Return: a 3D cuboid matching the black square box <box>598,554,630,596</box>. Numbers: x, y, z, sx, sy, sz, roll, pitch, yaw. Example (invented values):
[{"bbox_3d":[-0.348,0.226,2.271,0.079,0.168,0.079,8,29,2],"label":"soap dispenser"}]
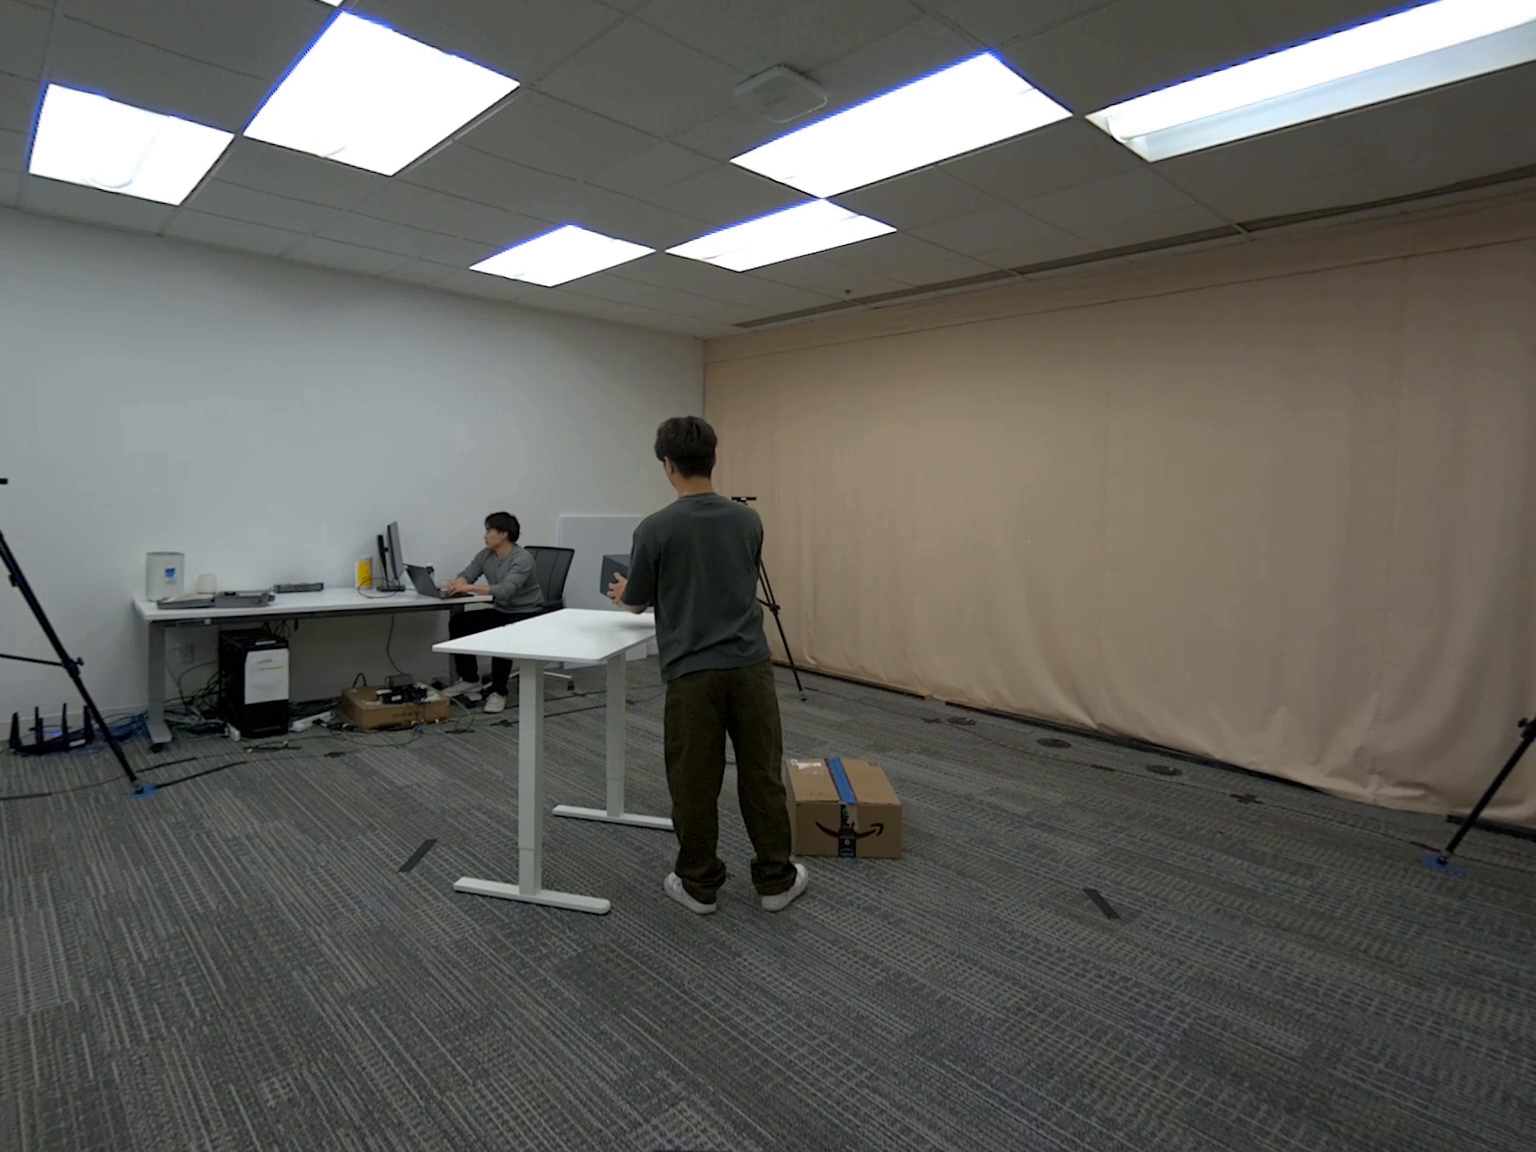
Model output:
[{"bbox_3d":[-0.503,0.015,3.277,0.223,0.155,0.223,-3,16,-42],"label":"black square box"}]
